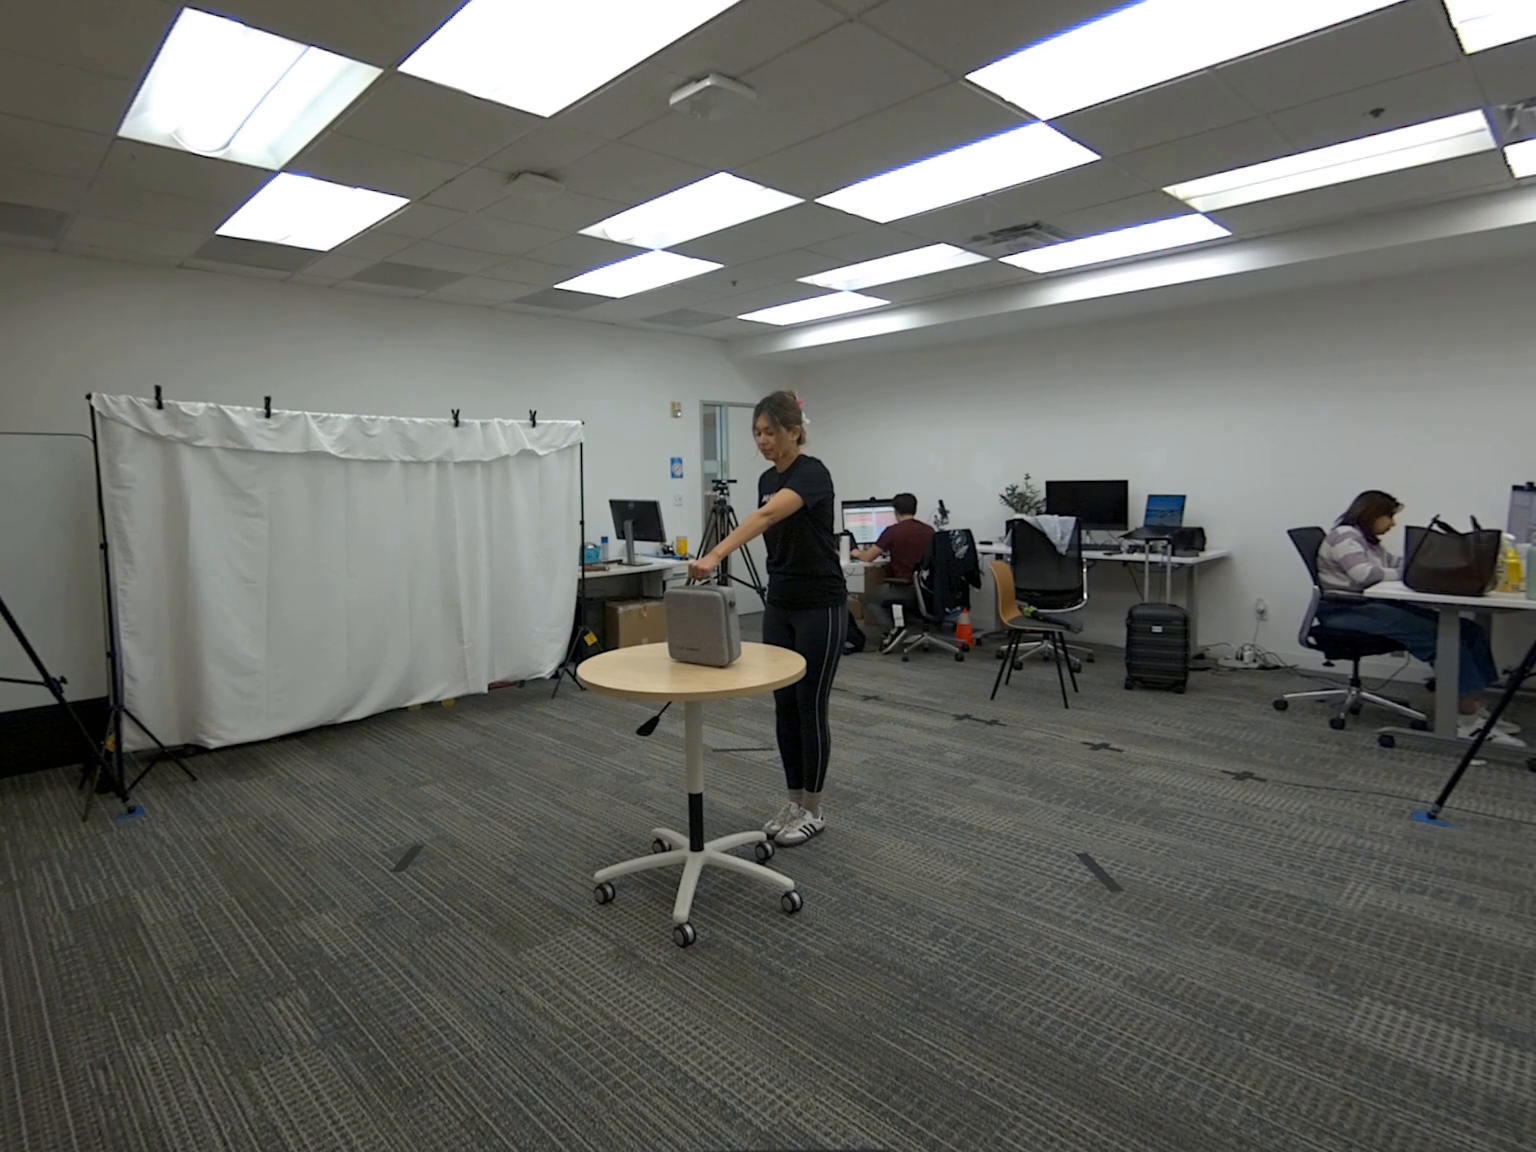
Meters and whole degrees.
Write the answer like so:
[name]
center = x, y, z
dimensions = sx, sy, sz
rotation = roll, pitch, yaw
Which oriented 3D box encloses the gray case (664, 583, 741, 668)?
[gray case]
center = -0.220, 0.155, 2.858
dimensions = 0.264, 0.259, 0.102
rotation = 2, 8, 36
